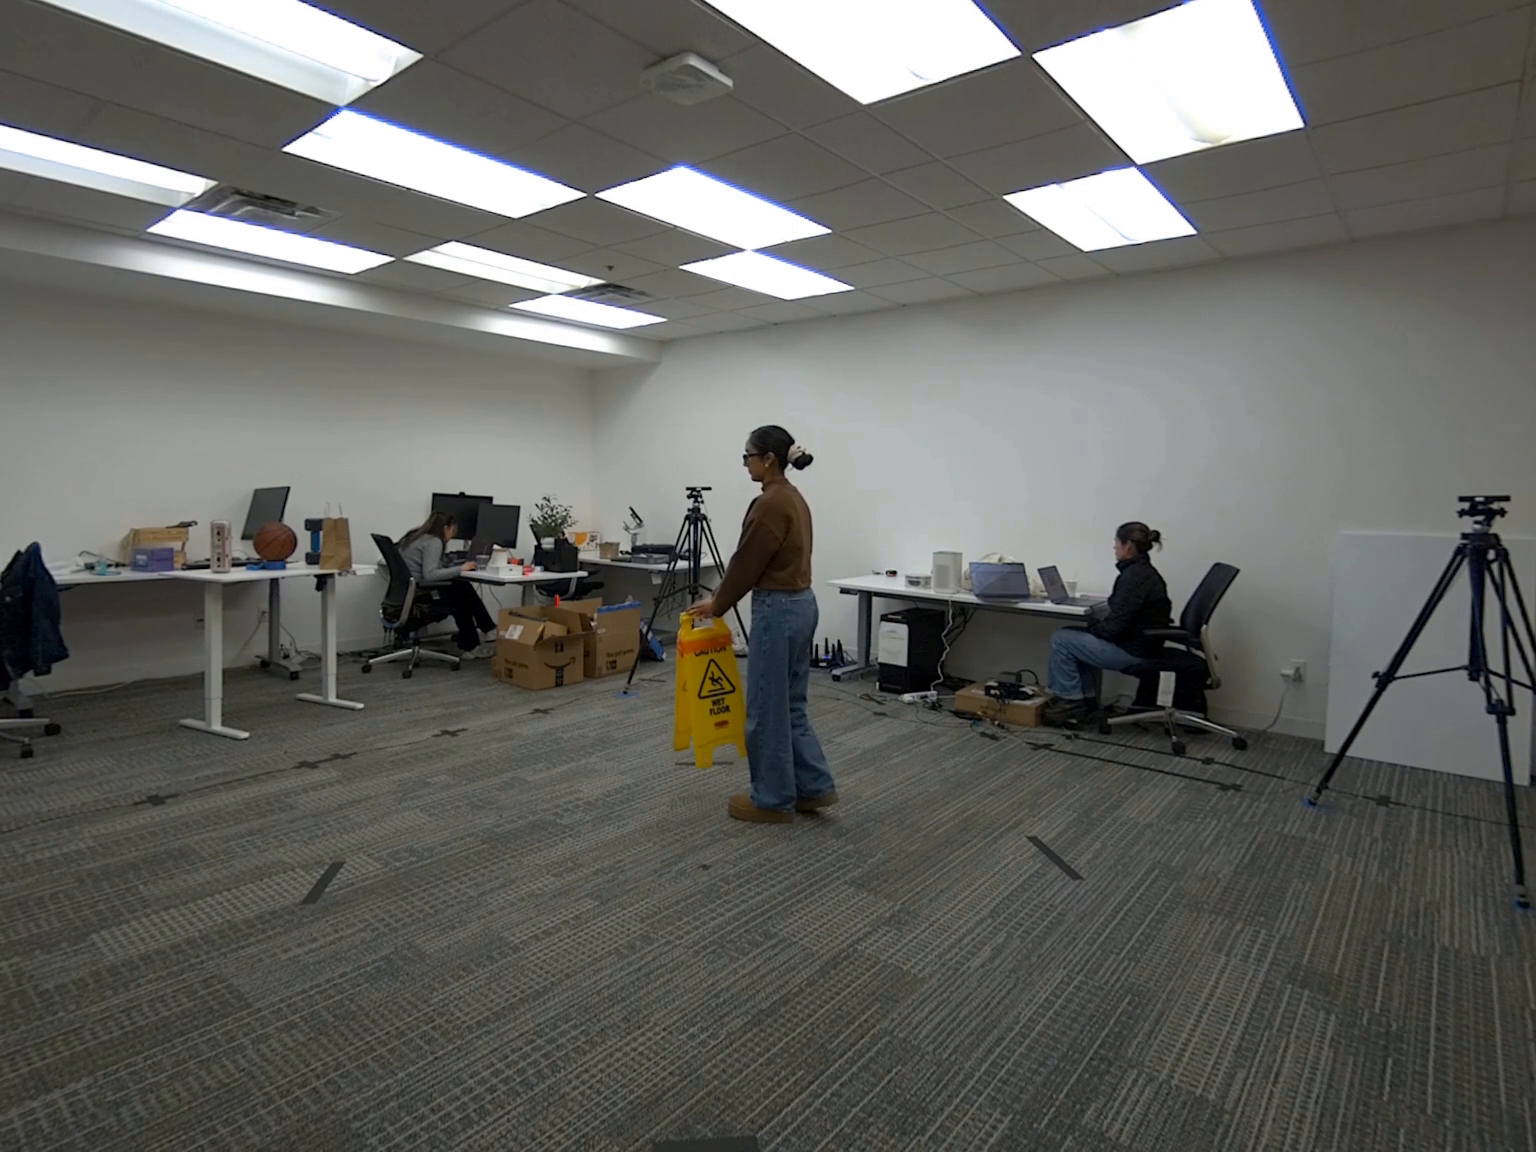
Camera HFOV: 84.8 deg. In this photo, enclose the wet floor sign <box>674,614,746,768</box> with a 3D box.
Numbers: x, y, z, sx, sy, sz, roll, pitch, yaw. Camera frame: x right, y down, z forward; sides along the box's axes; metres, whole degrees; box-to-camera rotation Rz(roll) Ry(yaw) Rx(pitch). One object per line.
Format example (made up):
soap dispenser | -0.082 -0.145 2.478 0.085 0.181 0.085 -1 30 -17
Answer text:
wet floor sign | -0.279 0.464 3.760 0.276 0.643 0.298 -6 5 -26
